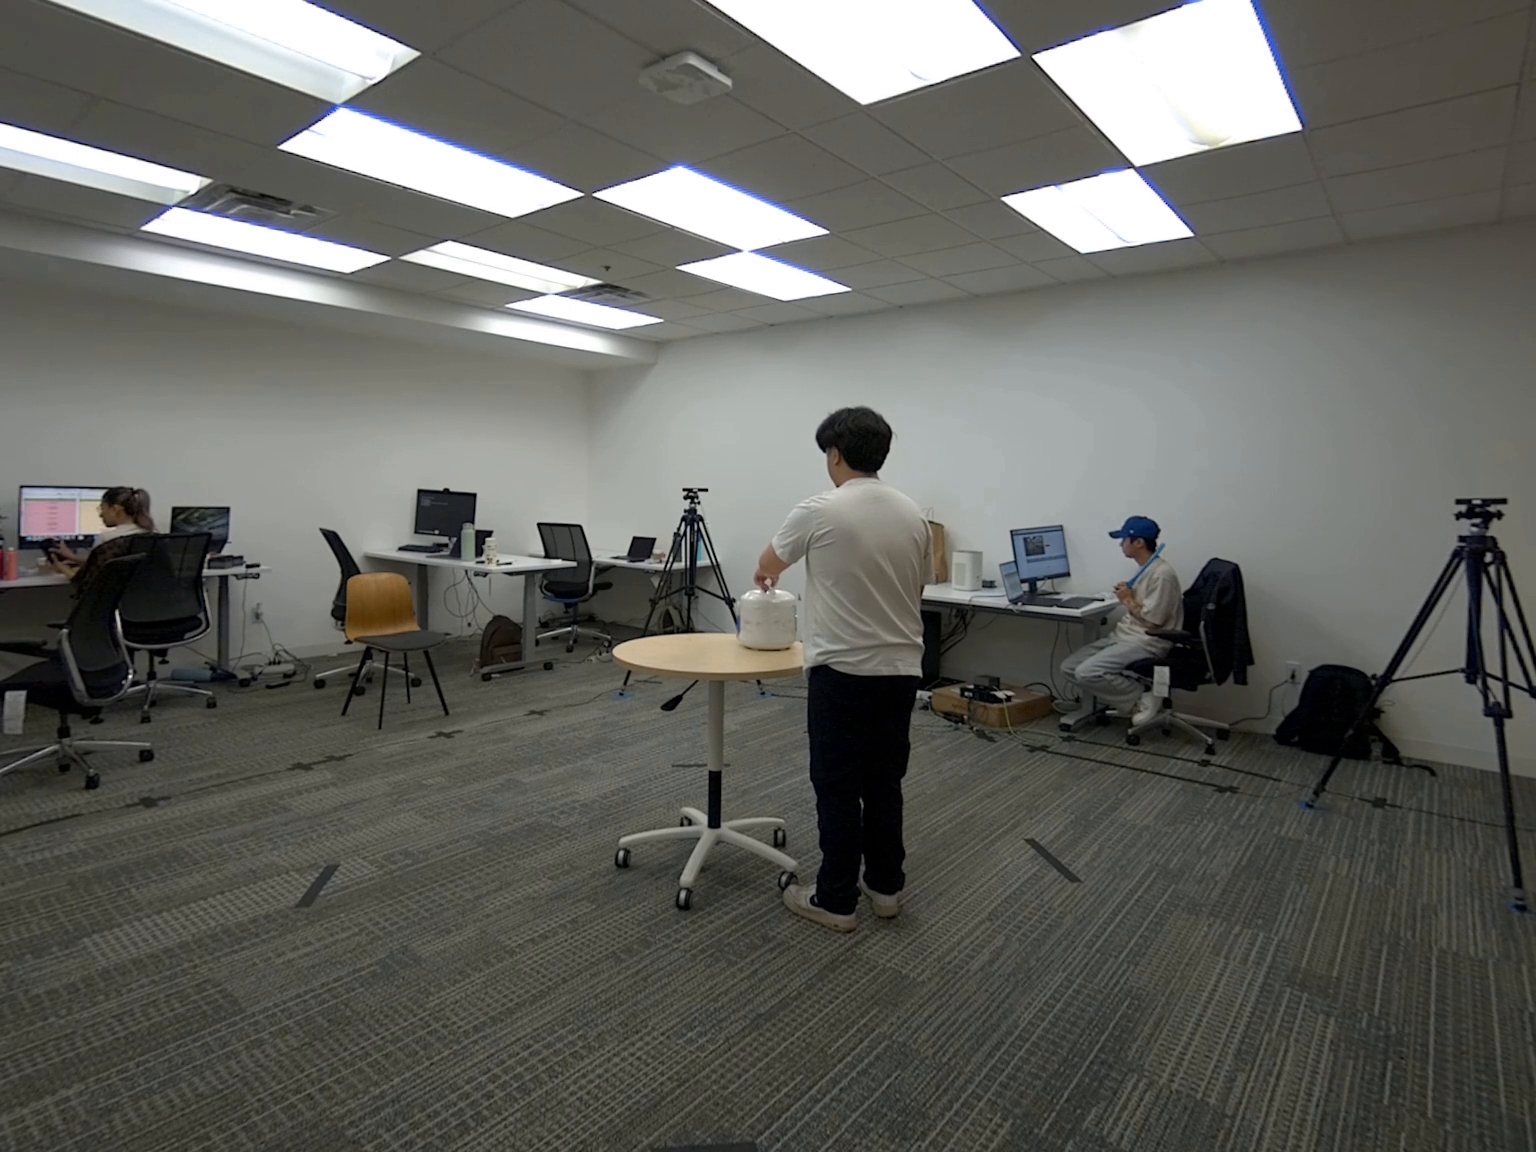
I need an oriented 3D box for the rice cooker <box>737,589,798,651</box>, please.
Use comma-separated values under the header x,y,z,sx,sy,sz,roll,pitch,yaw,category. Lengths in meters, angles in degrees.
x,y,z,sx,sy,sz,roll,pitch,yaw,category
-0.009,0.148,3.217,0.215,0.232,0.224,-1,4,-13,rice cooker
